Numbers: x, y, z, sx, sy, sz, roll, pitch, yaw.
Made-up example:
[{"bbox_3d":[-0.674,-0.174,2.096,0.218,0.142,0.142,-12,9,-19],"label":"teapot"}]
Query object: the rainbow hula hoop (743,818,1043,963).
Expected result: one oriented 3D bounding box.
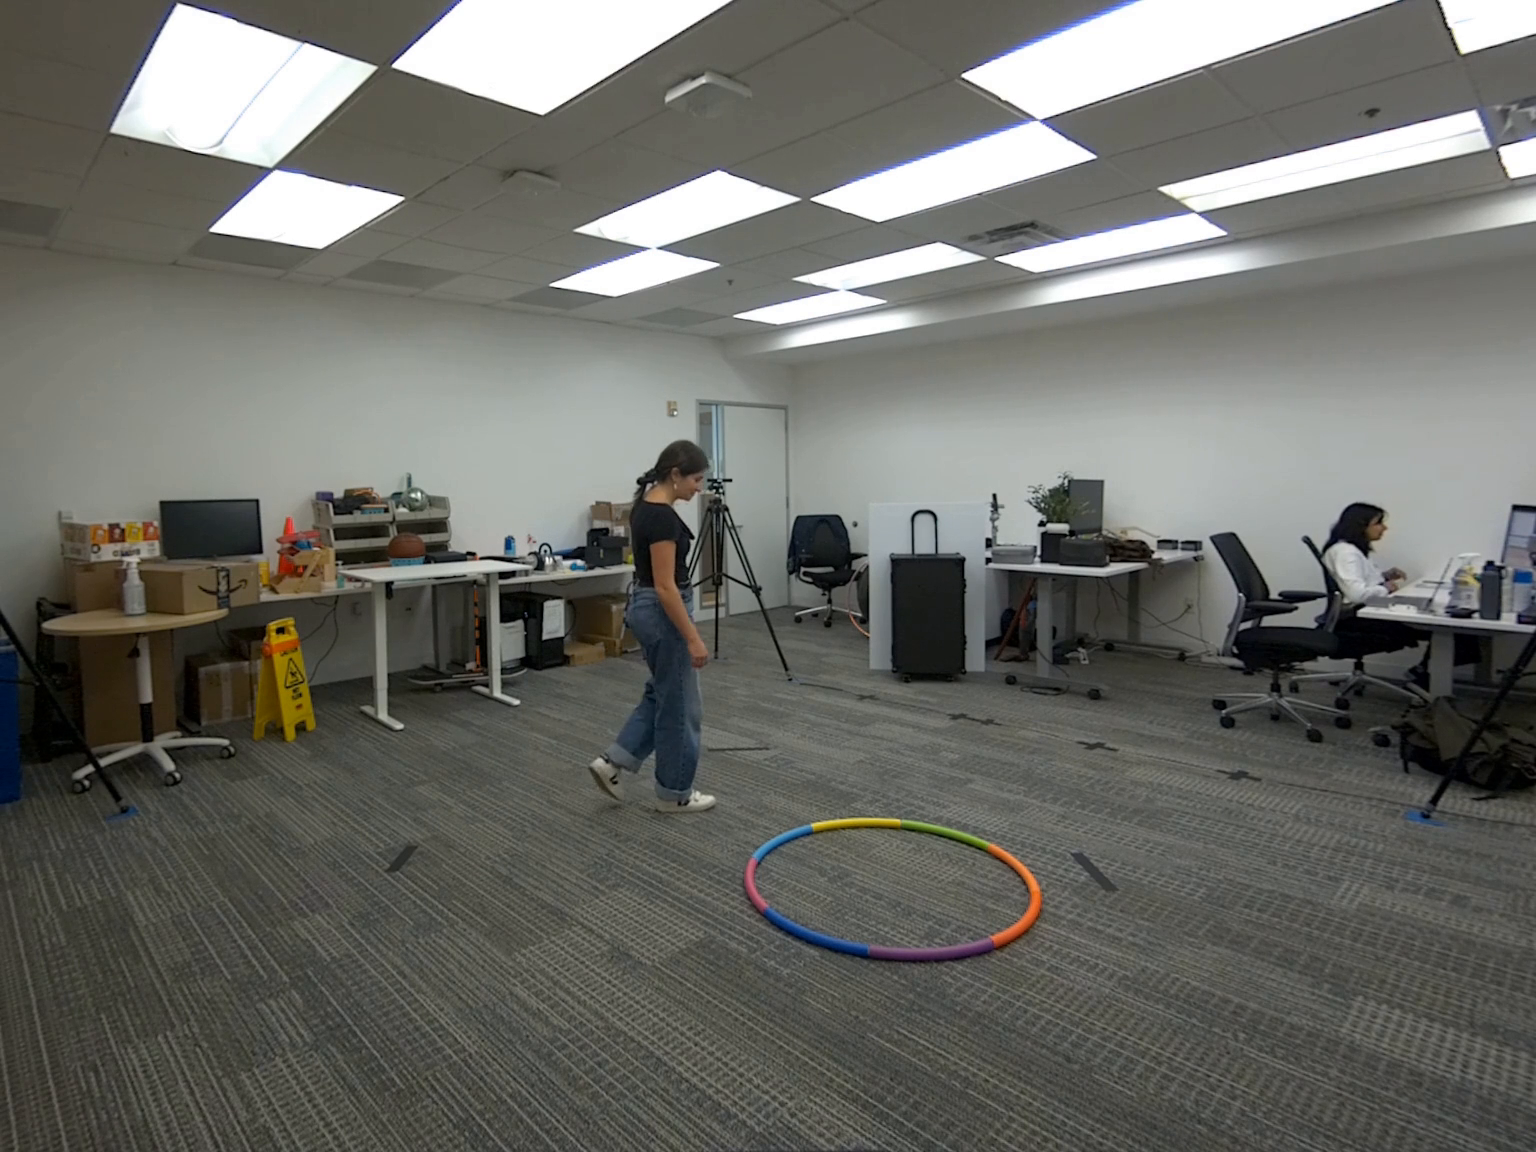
[{"bbox_3d":[0.408,1.028,2.945,0.978,0.035,0.984,-2,7,-1],"label":"rainbow hula hoop"}]
